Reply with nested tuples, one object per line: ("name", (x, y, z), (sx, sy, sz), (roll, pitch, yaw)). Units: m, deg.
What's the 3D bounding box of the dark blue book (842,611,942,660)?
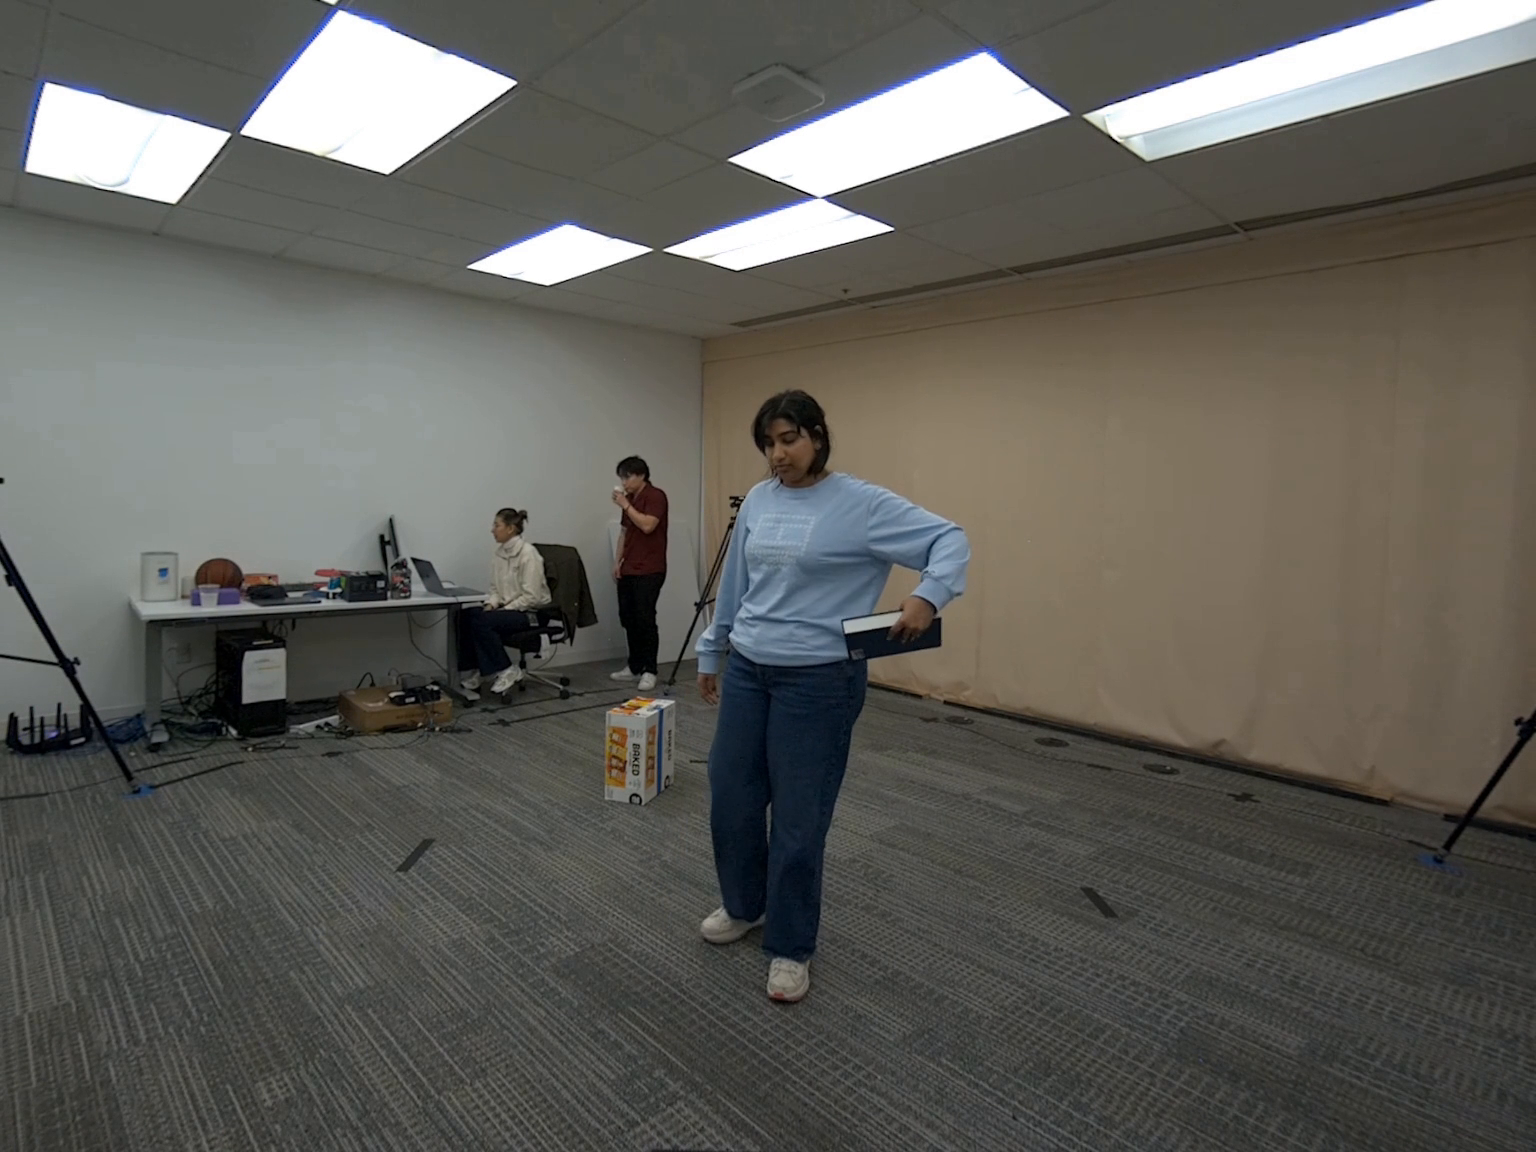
("dark blue book", (0.317, 0.148, 2.166), (0.246, 0.046, 0.159), (-9, -36, 9))
